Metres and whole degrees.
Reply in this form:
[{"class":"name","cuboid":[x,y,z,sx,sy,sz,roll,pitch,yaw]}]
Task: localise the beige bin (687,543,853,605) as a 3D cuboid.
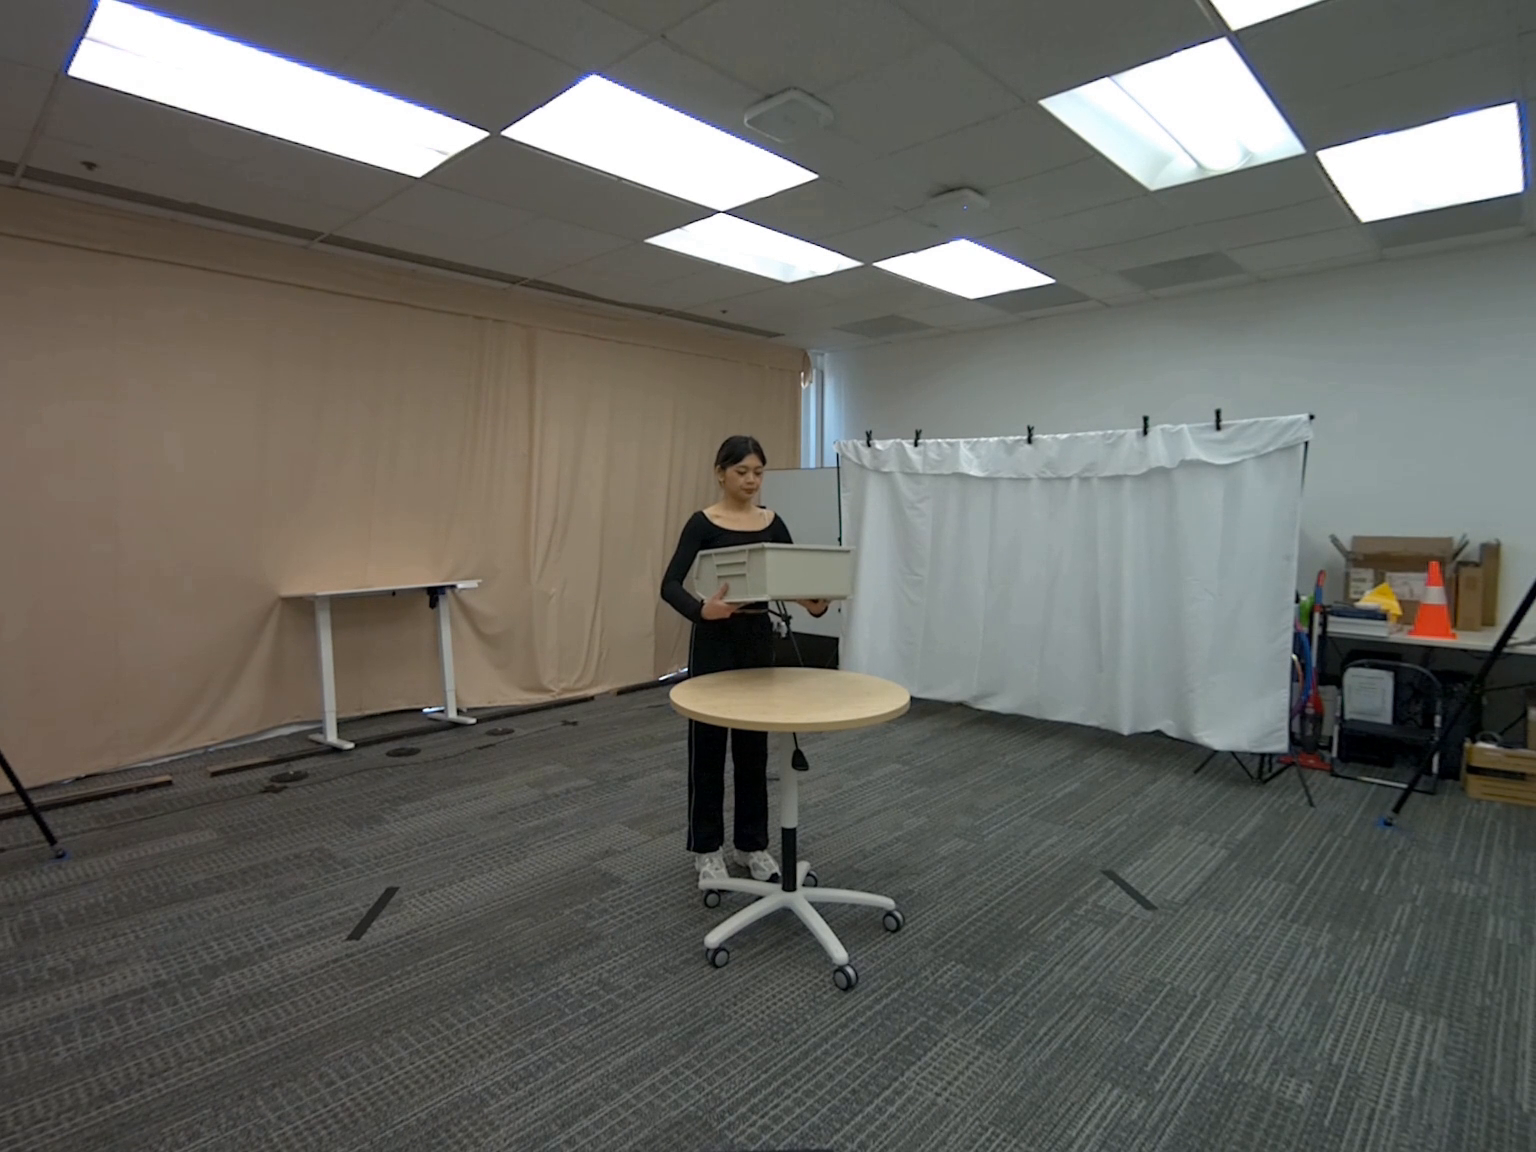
[{"class":"beige bin","cuboid":[0.023,0.001,2.894,0.409,0.189,0.389,2,-3,-41]}]
